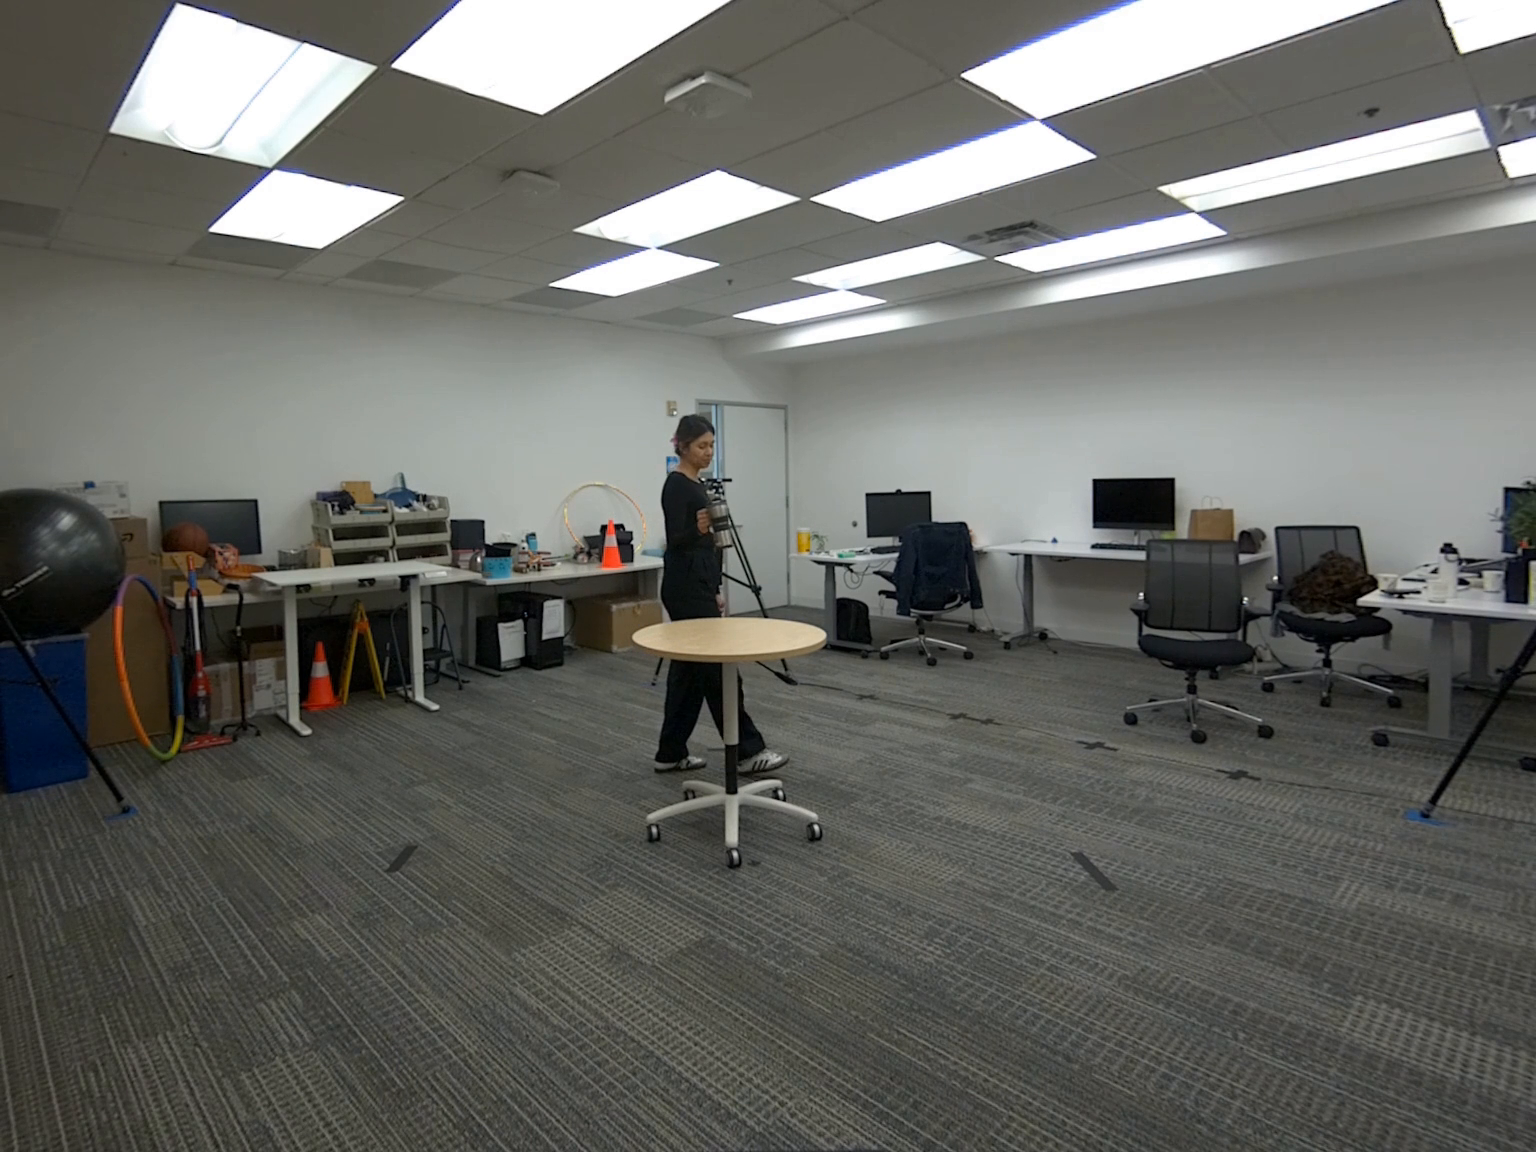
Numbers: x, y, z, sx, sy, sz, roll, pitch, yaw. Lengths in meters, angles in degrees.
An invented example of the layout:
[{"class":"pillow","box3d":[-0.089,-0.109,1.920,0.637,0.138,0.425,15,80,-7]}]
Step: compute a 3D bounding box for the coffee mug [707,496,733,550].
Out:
[{"class":"coffee mug","box3d":[-0.175,-0.211,3.572,0.119,0.203,0.090,-9,-2,-35]}]
